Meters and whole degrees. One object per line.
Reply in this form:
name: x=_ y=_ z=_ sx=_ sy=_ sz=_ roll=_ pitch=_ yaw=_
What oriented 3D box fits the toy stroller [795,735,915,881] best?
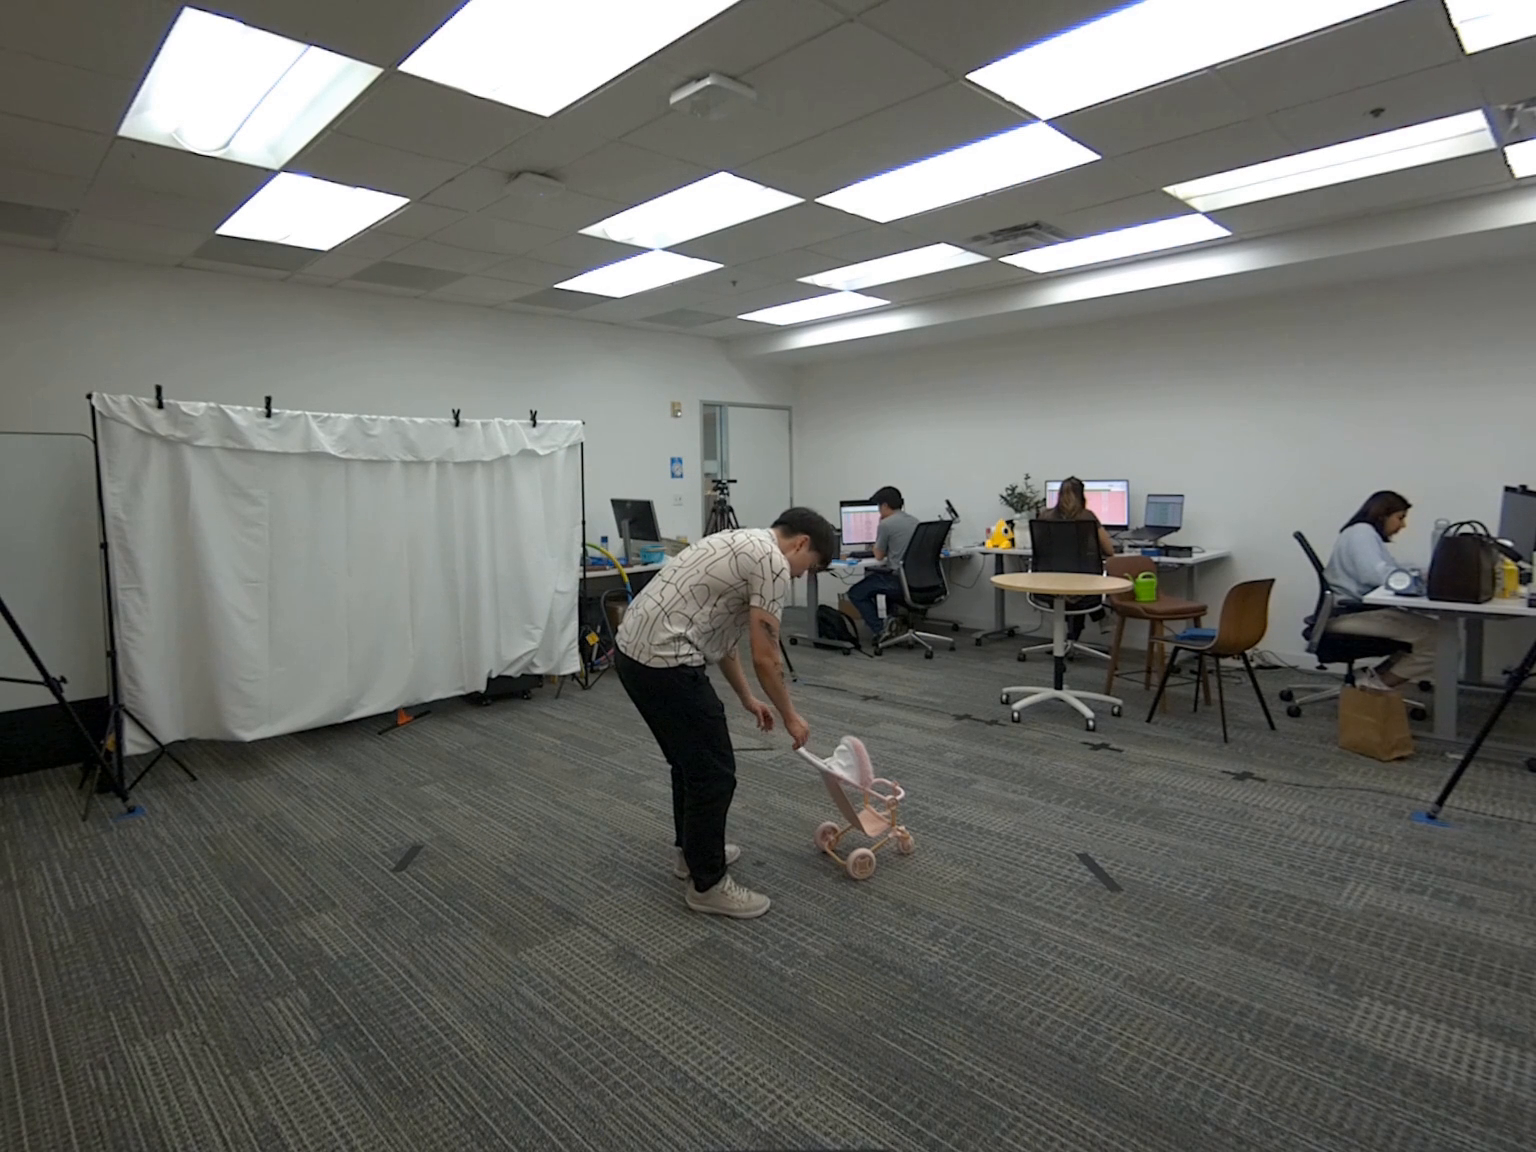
toy stroller: x=0.331 y=0.816 z=3.100 sx=0.338 sy=0.530 sz=0.287 roll=-19 pitch=9 yaw=-15
